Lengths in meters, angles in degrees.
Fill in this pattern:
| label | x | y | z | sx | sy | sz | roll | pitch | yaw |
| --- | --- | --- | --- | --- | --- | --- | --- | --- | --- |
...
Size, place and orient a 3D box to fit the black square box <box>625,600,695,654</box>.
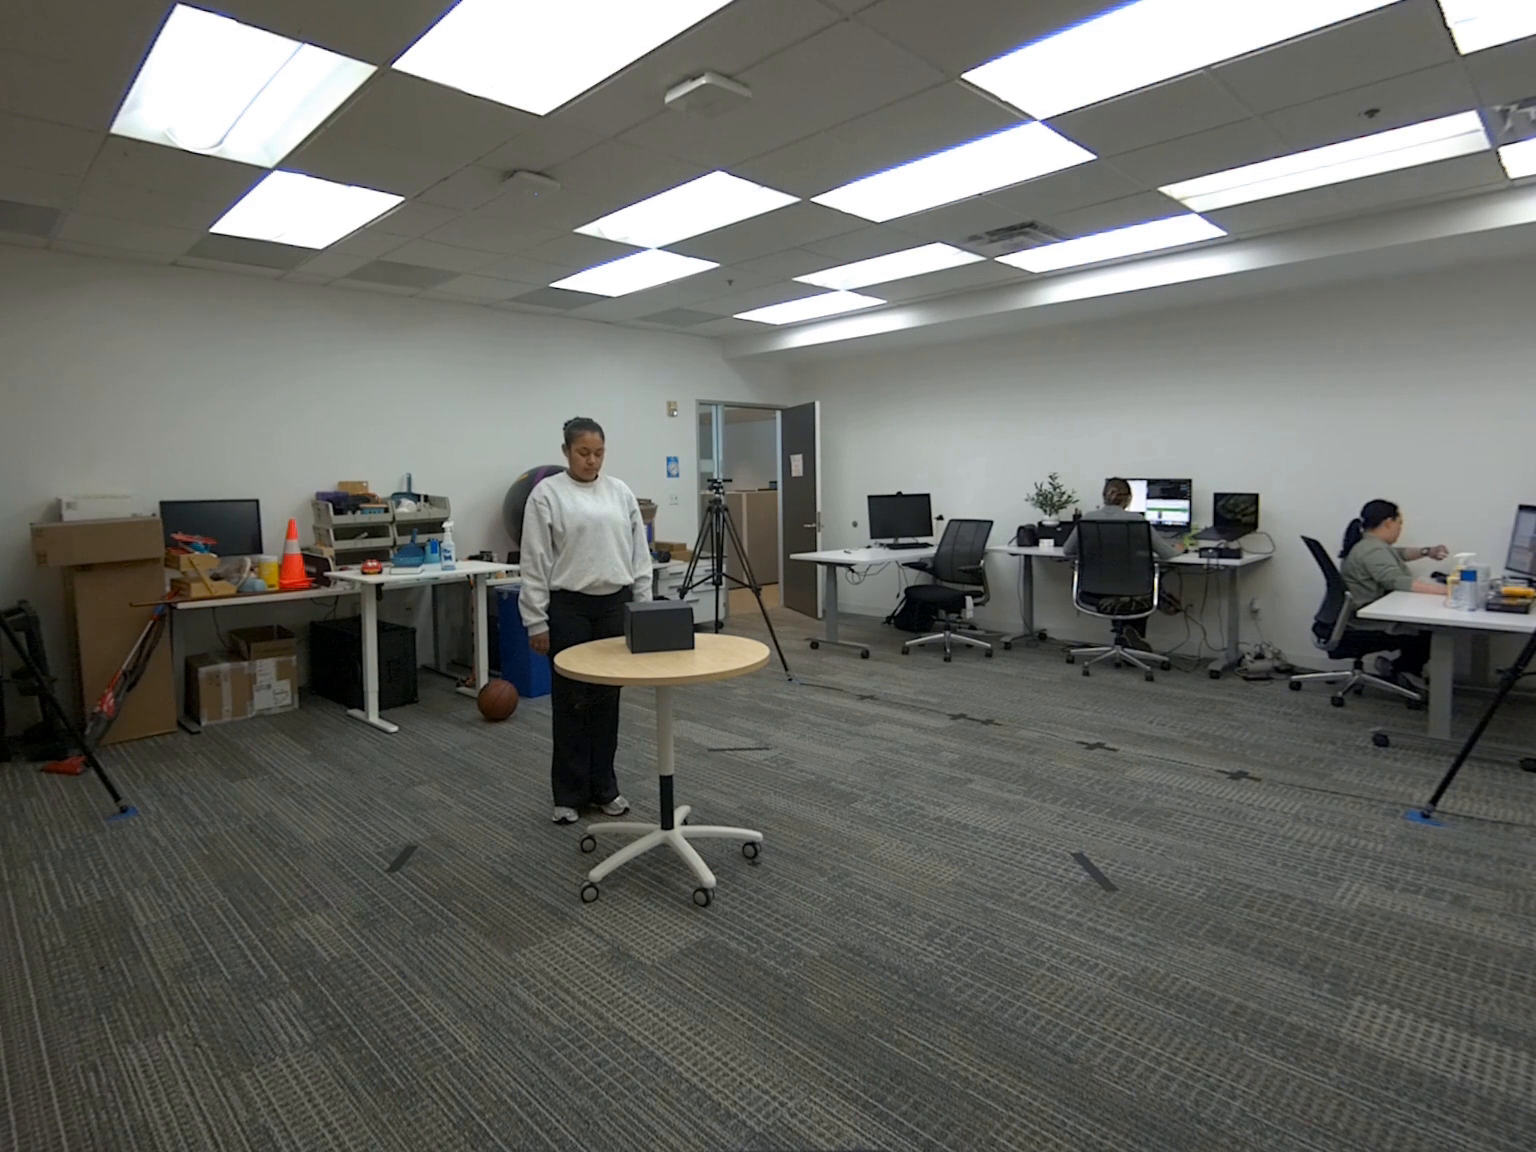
| label | x | y | z | sx | sy | sz | roll | pitch | yaw |
| --- | --- | --- | --- | --- | --- | --- | --- | --- | --- |
| black square box | -0.406 | 0.179 | 3.166 | 0.225 | 0.155 | 0.220 | -3 | 6 | -13 |
